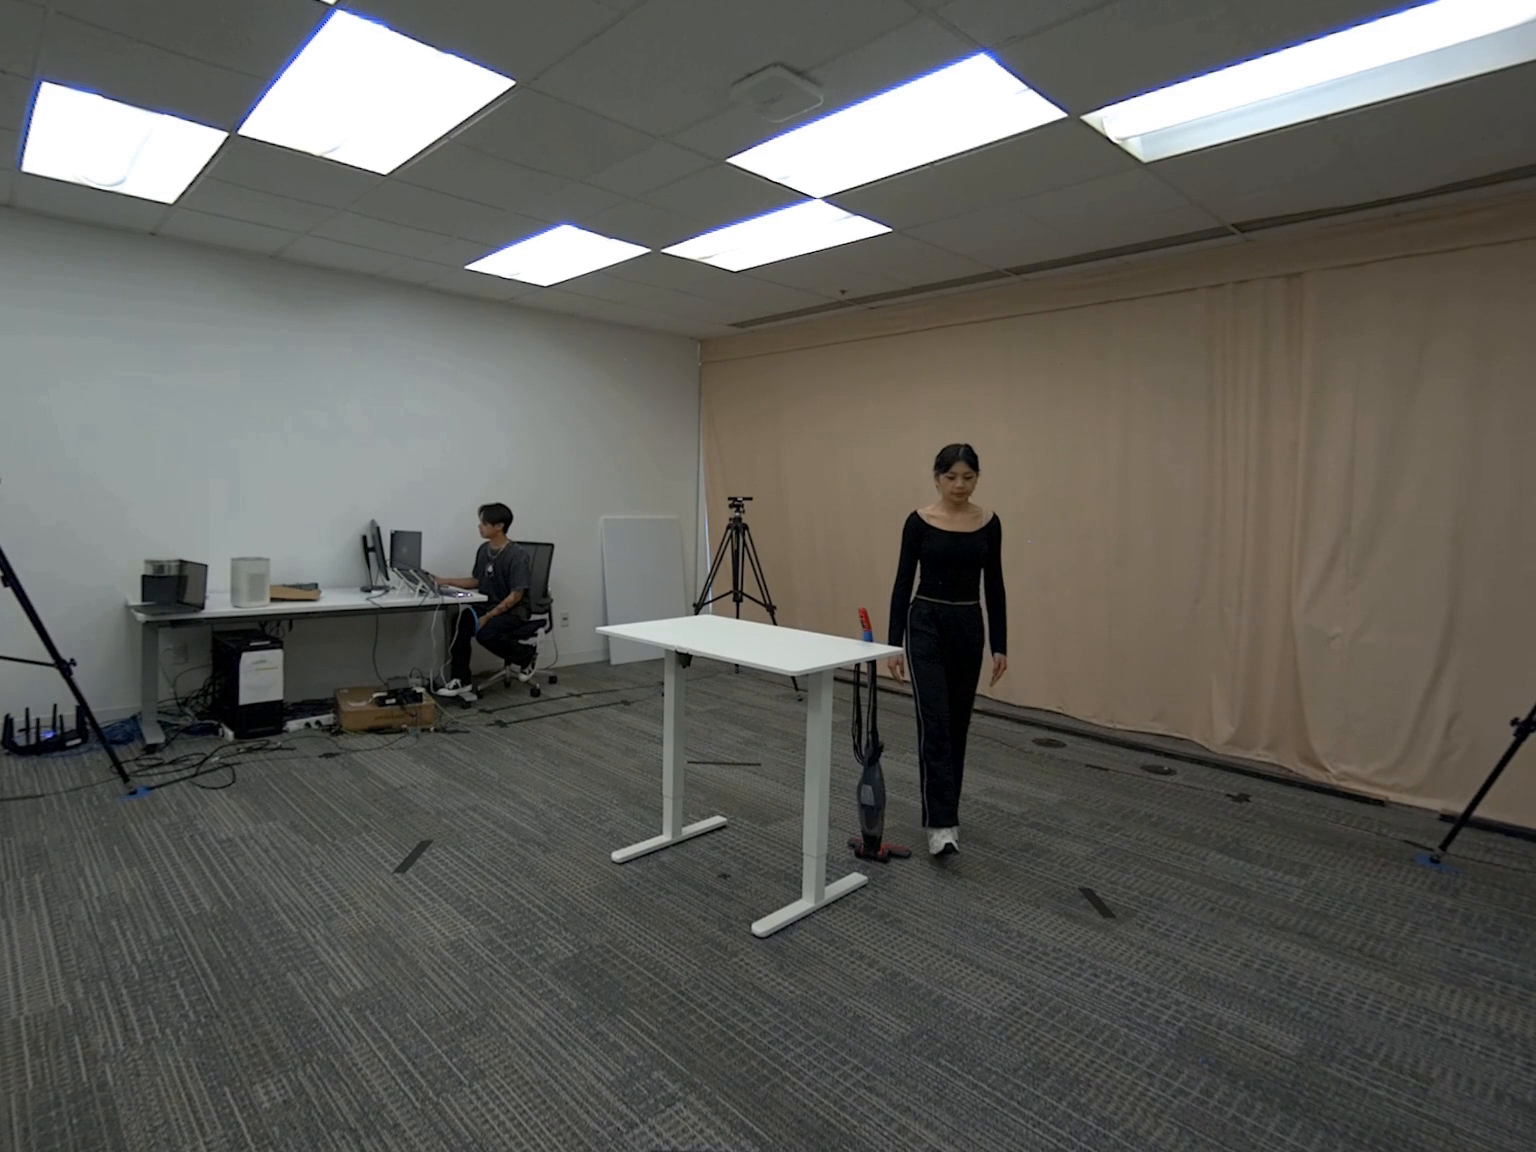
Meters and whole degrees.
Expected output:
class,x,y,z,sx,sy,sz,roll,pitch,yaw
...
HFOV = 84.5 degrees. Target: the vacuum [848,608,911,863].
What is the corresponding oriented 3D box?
class,x,y,z,sx,sy,sz,roll,pitch,yaw
vacuum,0.375,0.615,3.160,0.258,1.034,0.143,6,22,32
